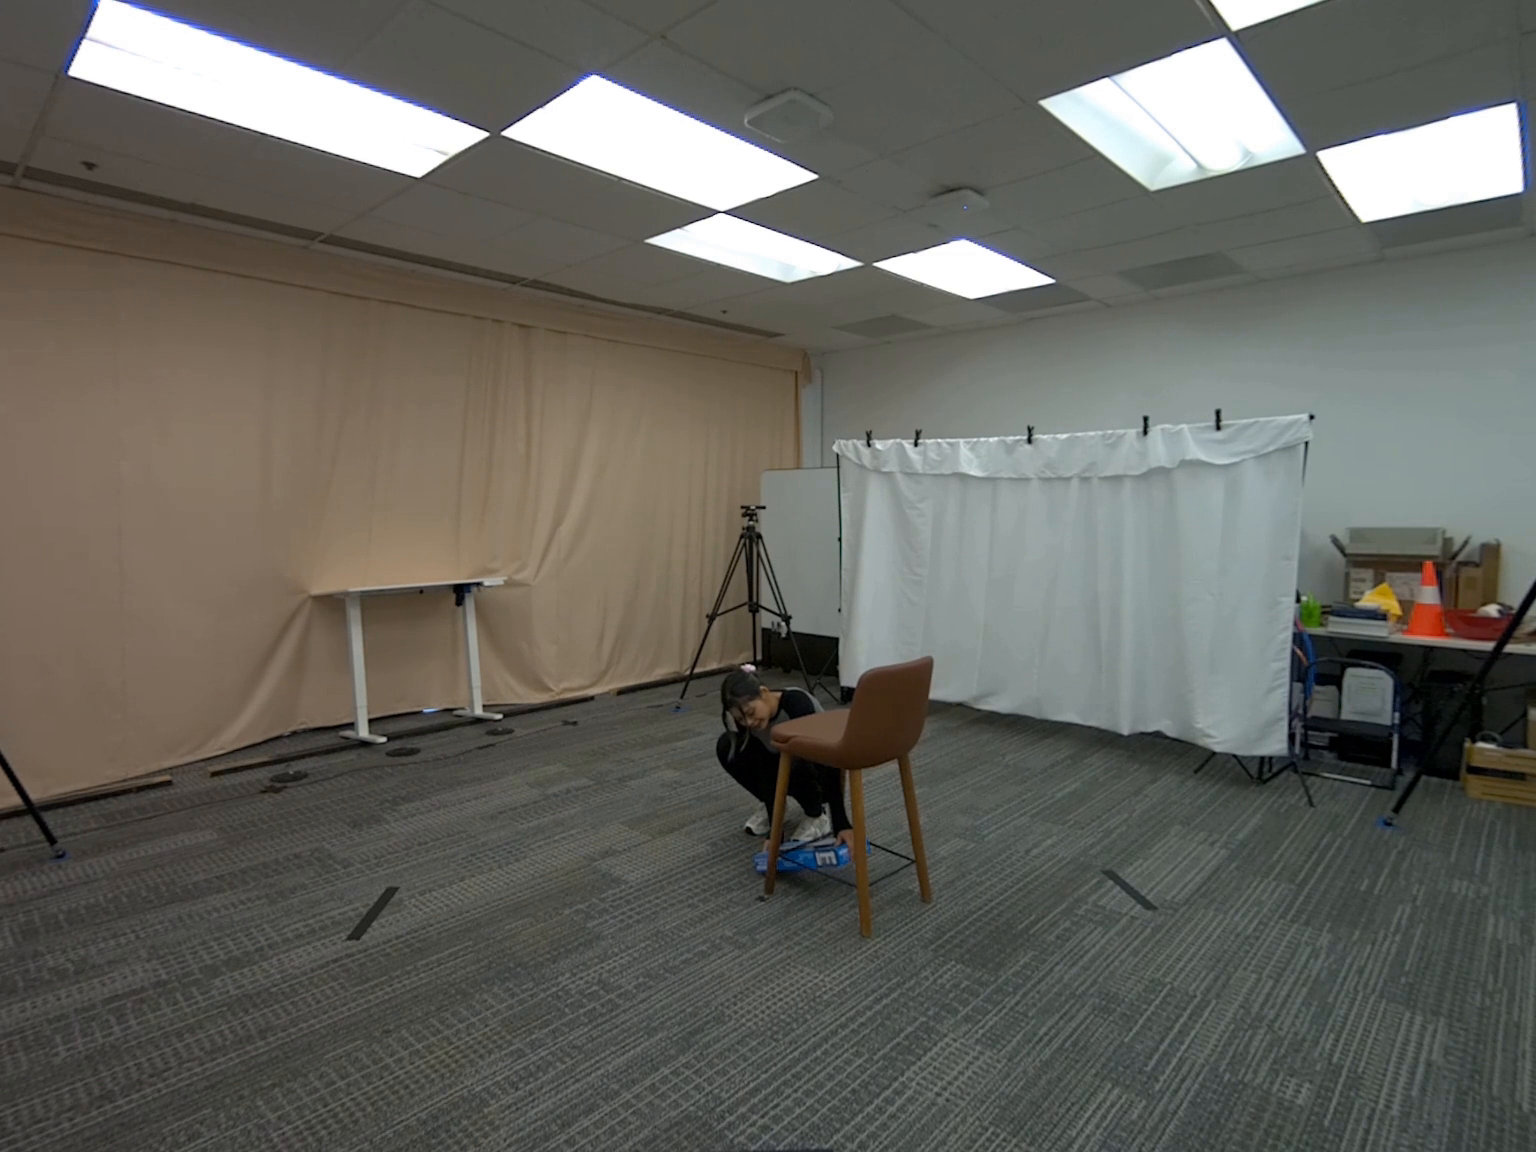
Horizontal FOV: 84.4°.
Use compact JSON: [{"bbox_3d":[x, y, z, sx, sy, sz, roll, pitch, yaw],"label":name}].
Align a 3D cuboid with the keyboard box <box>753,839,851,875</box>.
[{"bbox_3d":[0.159,1.012,3.086,0.171,0.059,0.446,-7,-10,-40],"label":"keyboard box"}]
